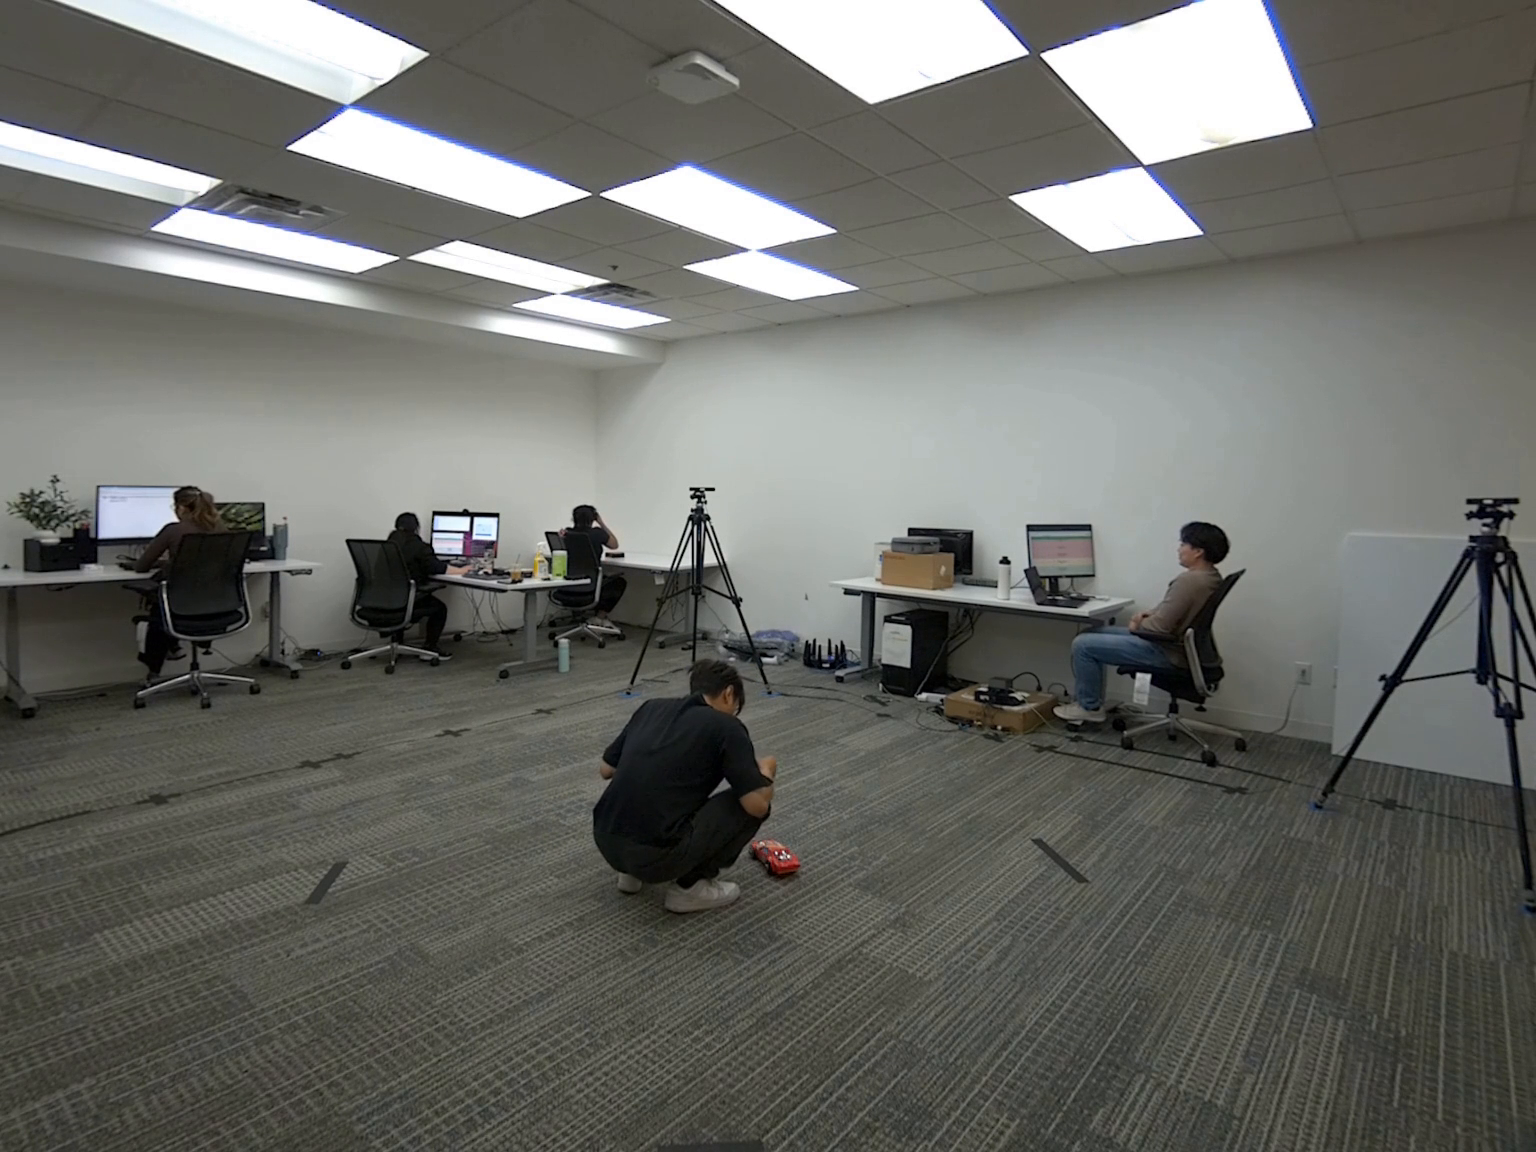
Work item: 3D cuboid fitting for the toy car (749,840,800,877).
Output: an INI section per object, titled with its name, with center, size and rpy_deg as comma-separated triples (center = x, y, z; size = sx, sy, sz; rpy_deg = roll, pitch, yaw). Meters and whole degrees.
[toy car]
center = 0.019, 1.047, 3.136
size = 0.127, 0.084, 0.259
rpy_deg = -1, -4, -24
